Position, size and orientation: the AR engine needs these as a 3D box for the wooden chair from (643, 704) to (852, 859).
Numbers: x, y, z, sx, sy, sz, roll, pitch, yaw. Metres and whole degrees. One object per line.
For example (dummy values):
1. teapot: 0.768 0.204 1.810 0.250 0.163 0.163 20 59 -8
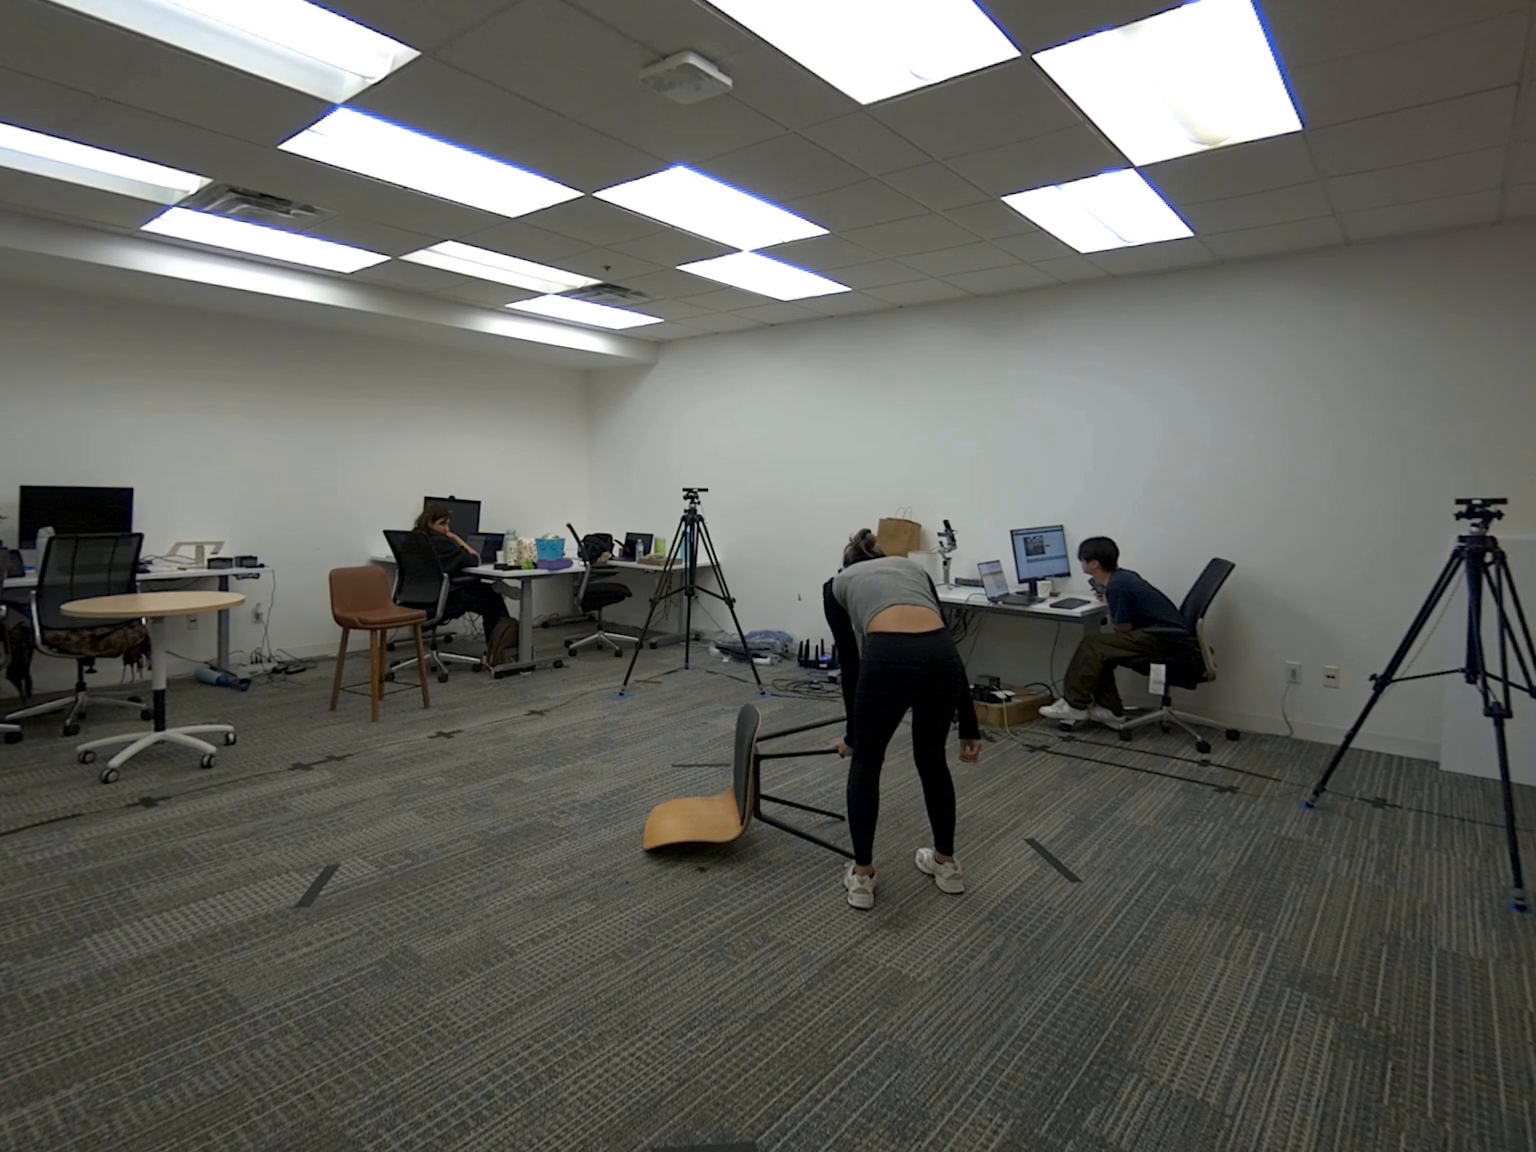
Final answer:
1. wooden chair: -0.068 0.788 3.360 0.875 0.521 0.481 0 4 -3
